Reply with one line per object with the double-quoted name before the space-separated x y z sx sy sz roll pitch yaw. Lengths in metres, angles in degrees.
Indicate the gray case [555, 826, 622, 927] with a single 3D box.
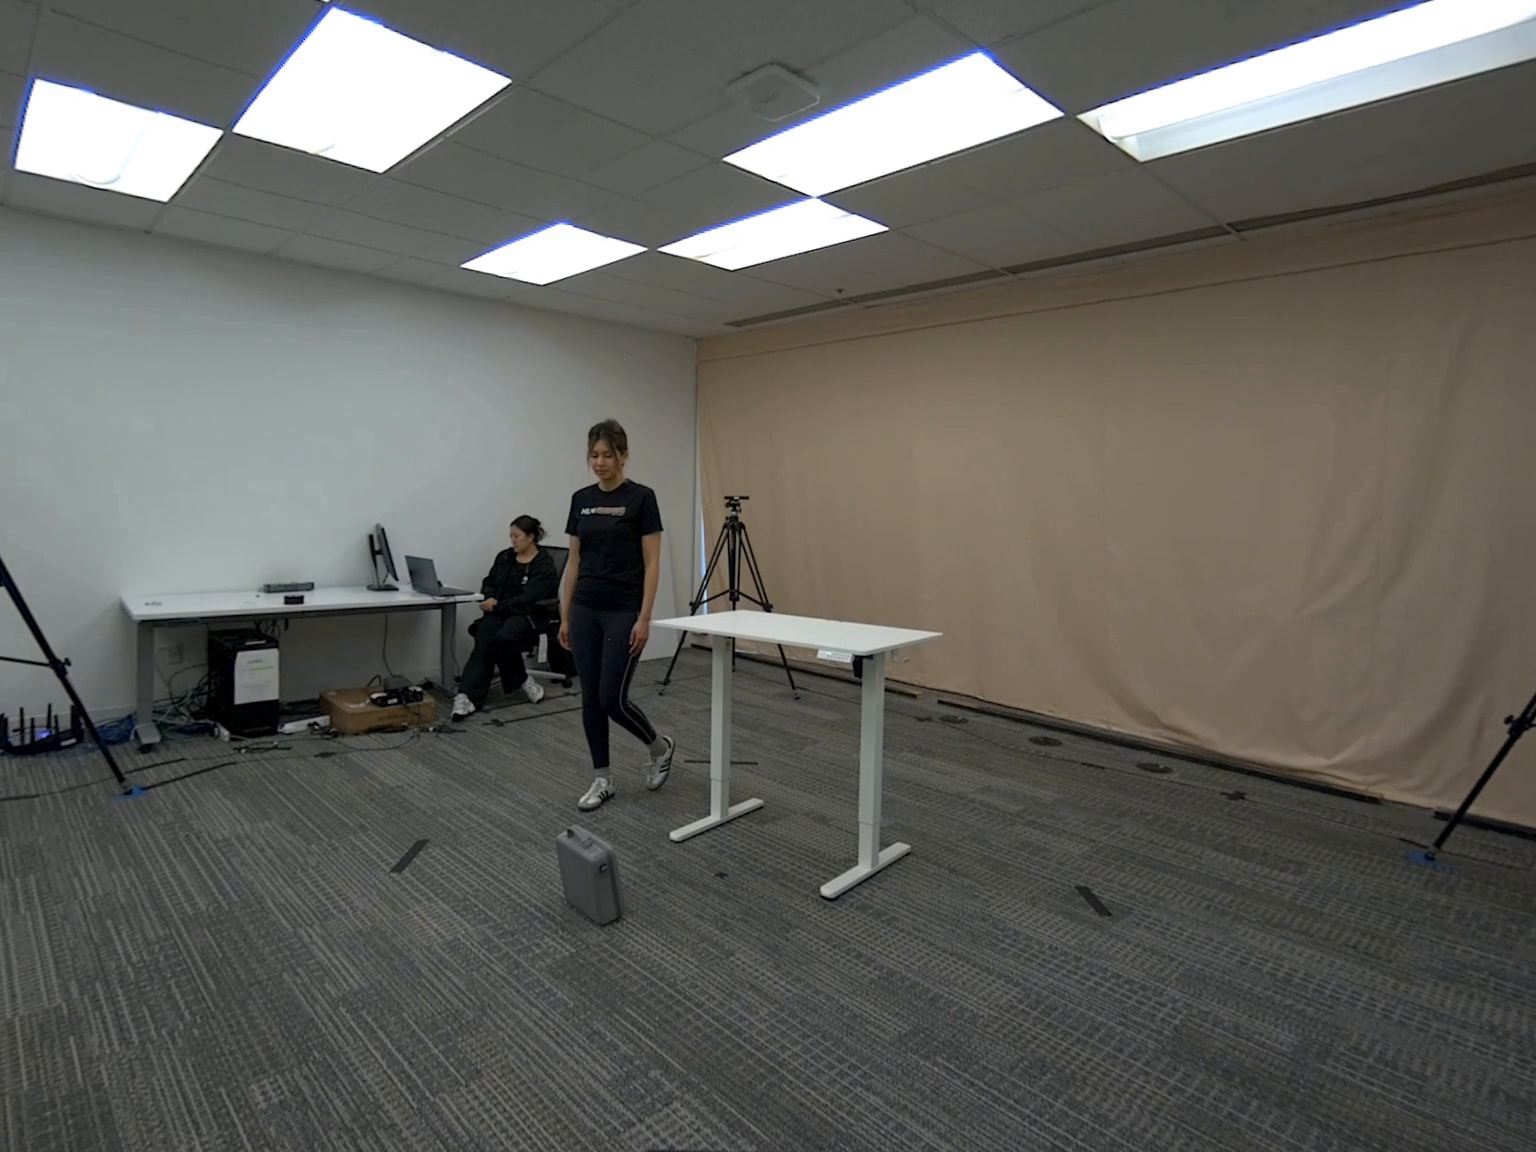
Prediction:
"gray case" -0.600 0.991 2.797 0.102 0.258 0.263 -15 13 -39
